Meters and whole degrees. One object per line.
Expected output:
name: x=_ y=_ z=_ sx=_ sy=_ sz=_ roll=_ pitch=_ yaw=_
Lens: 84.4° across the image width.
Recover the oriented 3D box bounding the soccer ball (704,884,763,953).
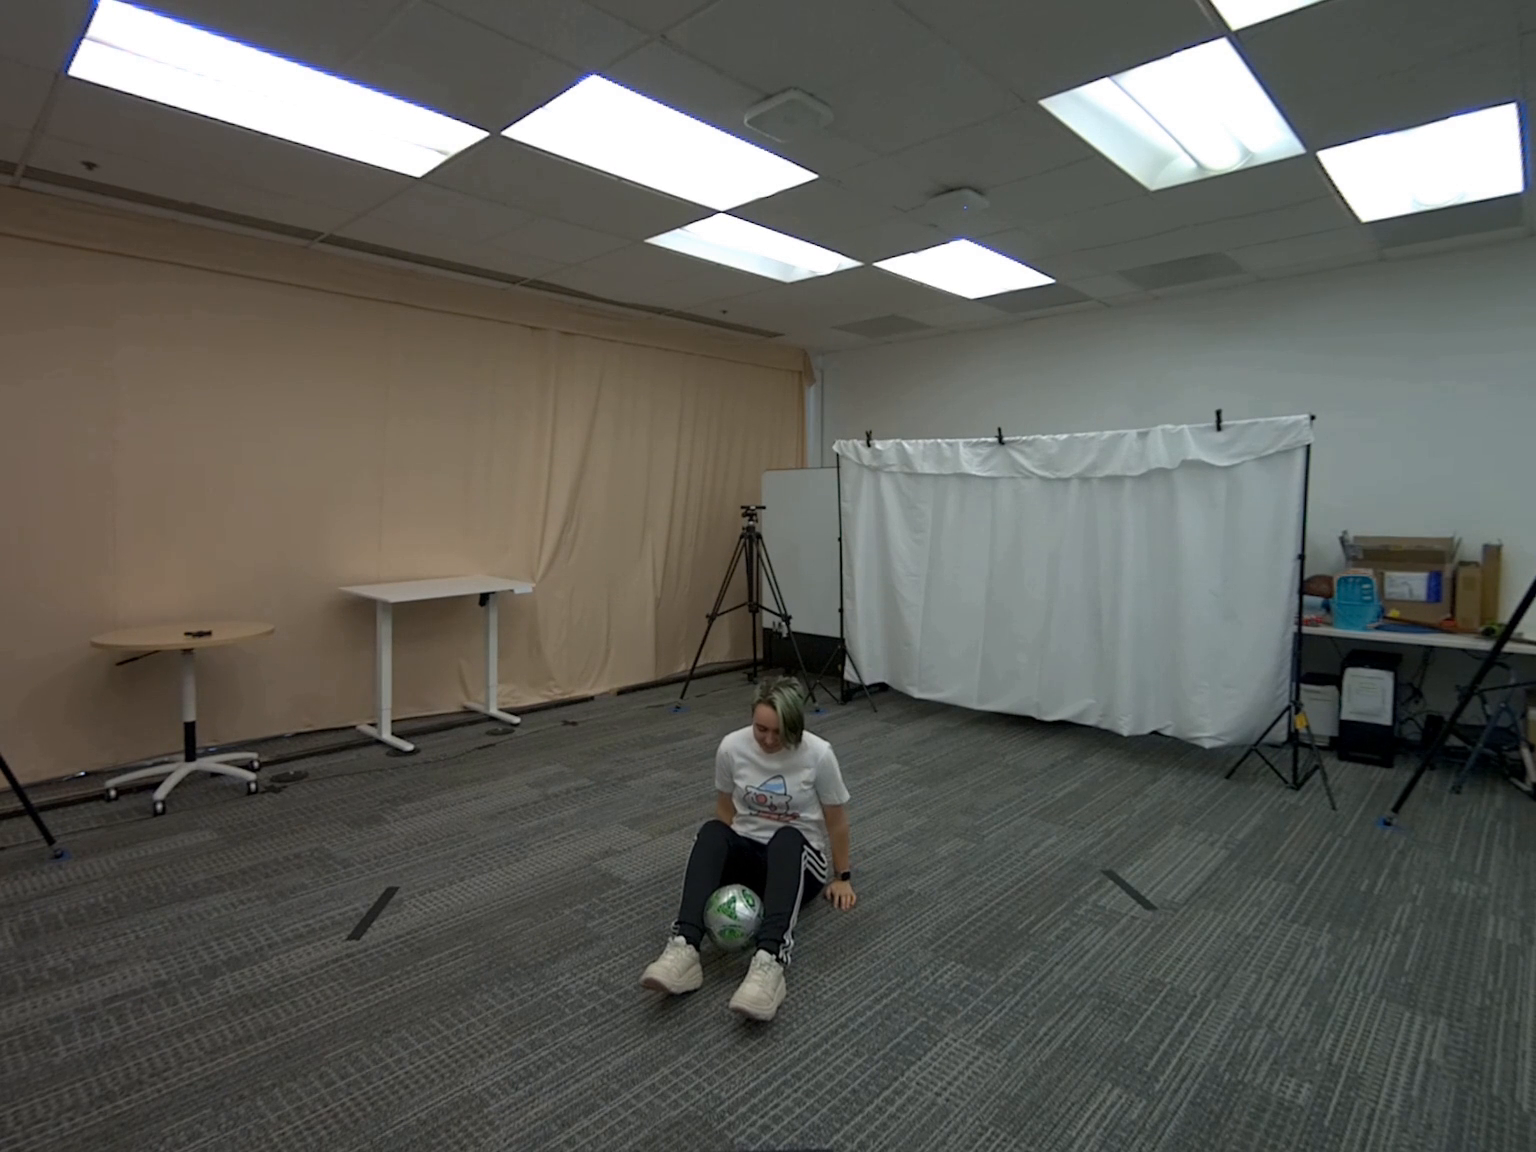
soccer ball: x=-0.092 y=1.015 z=2.517 sx=0.187 sy=0.187 sz=0.188 roll=0 pitch=4 yaw=-2
